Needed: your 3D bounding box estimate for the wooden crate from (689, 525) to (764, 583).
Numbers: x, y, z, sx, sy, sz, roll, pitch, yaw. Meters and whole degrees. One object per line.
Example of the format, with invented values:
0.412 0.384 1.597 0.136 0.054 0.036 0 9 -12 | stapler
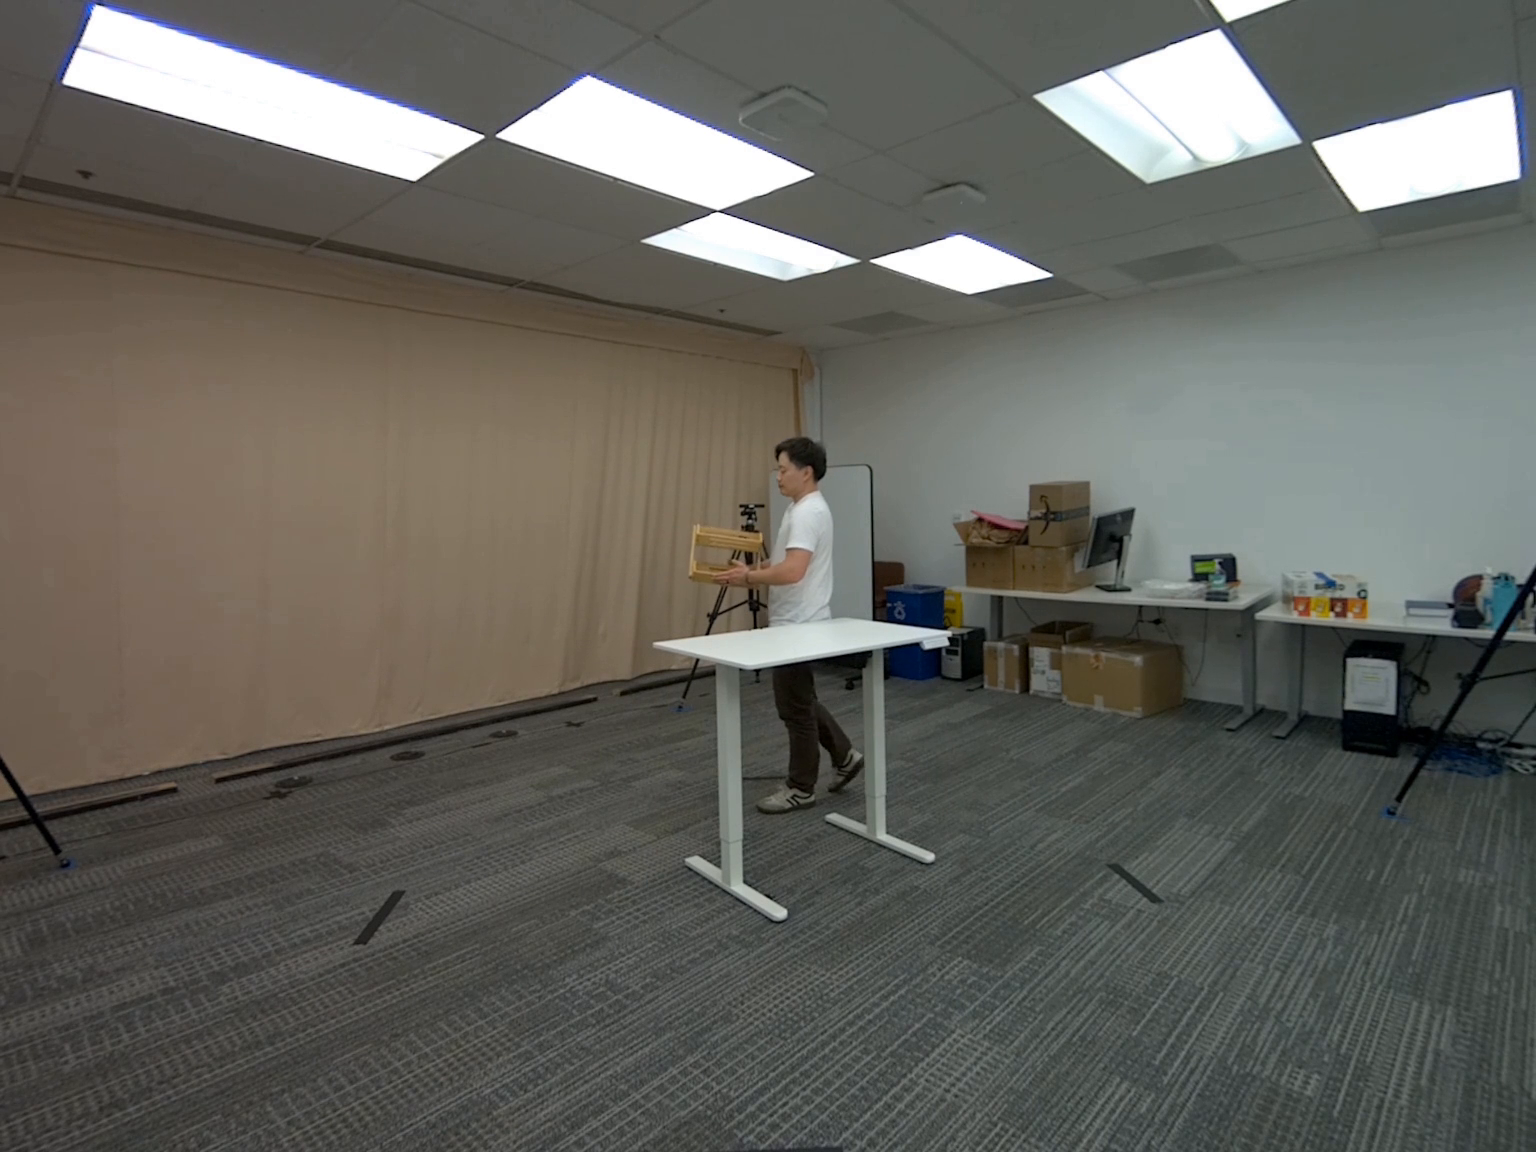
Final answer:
-0.186 -0.093 3.892 0.322 0.273 0.304 7 -1 -7 | wooden crate
